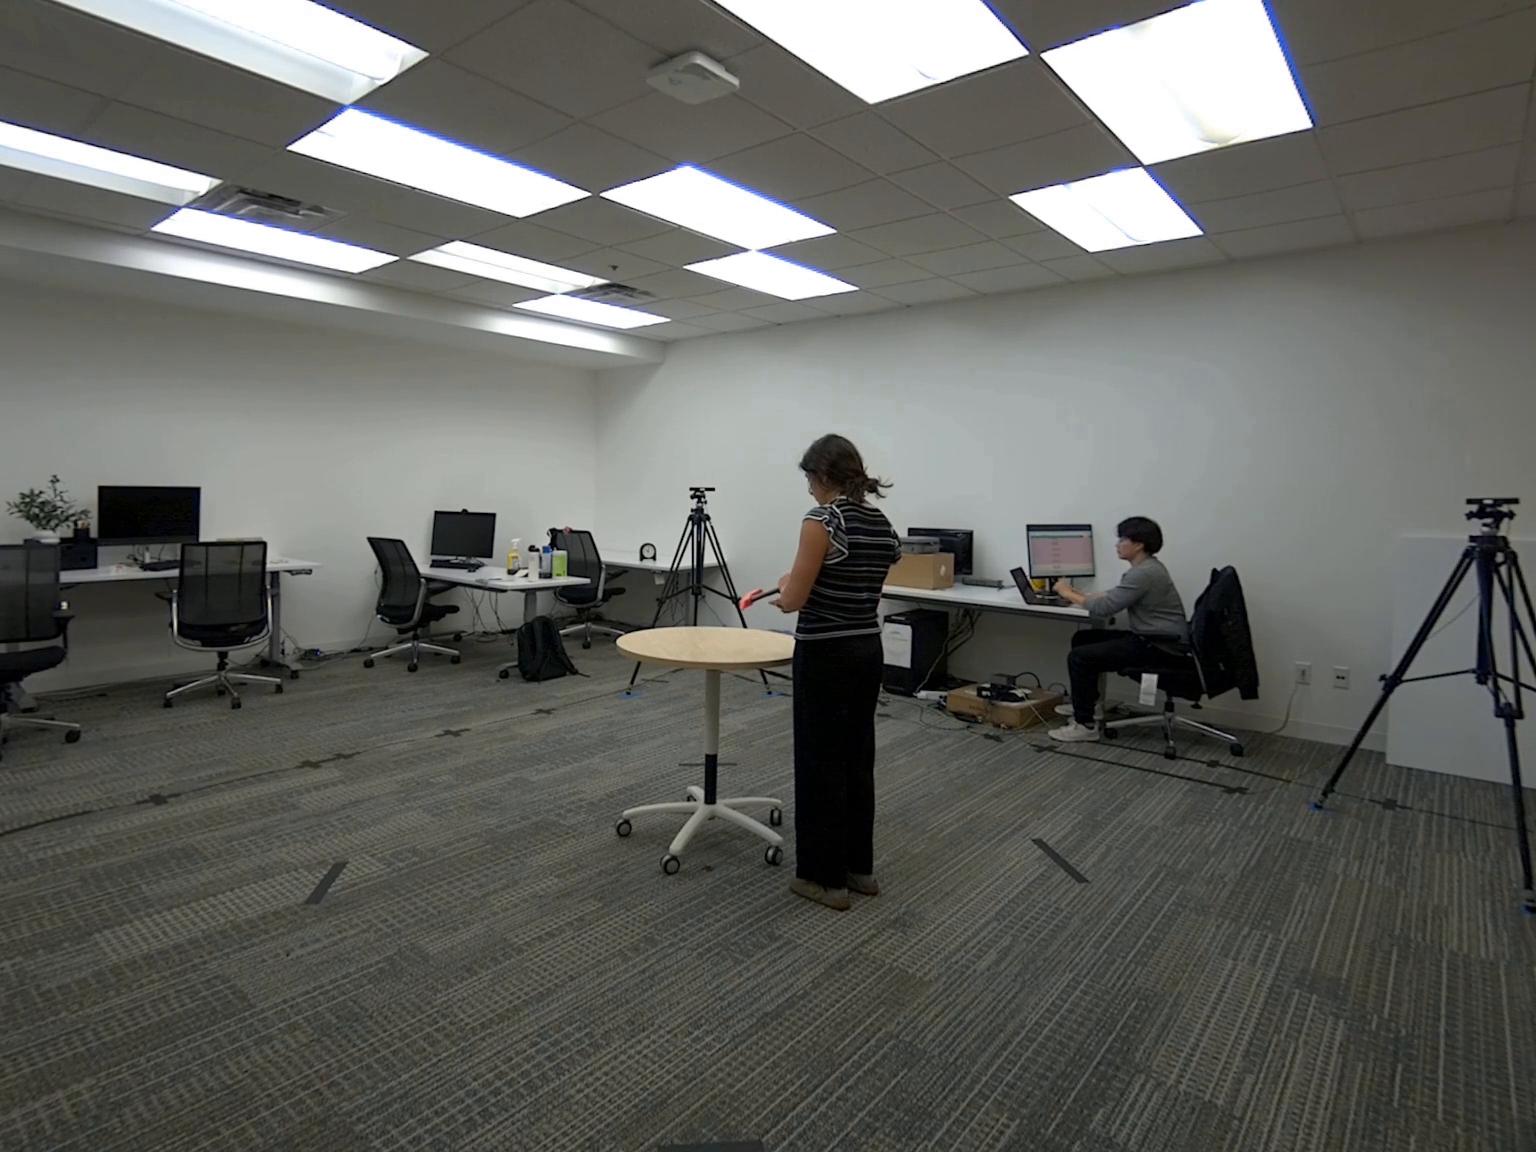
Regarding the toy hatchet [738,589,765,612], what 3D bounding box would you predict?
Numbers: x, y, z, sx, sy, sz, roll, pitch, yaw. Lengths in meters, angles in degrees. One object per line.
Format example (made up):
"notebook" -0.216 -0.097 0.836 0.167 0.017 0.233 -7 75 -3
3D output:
"toy hatchet" 0.014 0.051 3.109 0.271 0.029 0.133 -24 16 9
